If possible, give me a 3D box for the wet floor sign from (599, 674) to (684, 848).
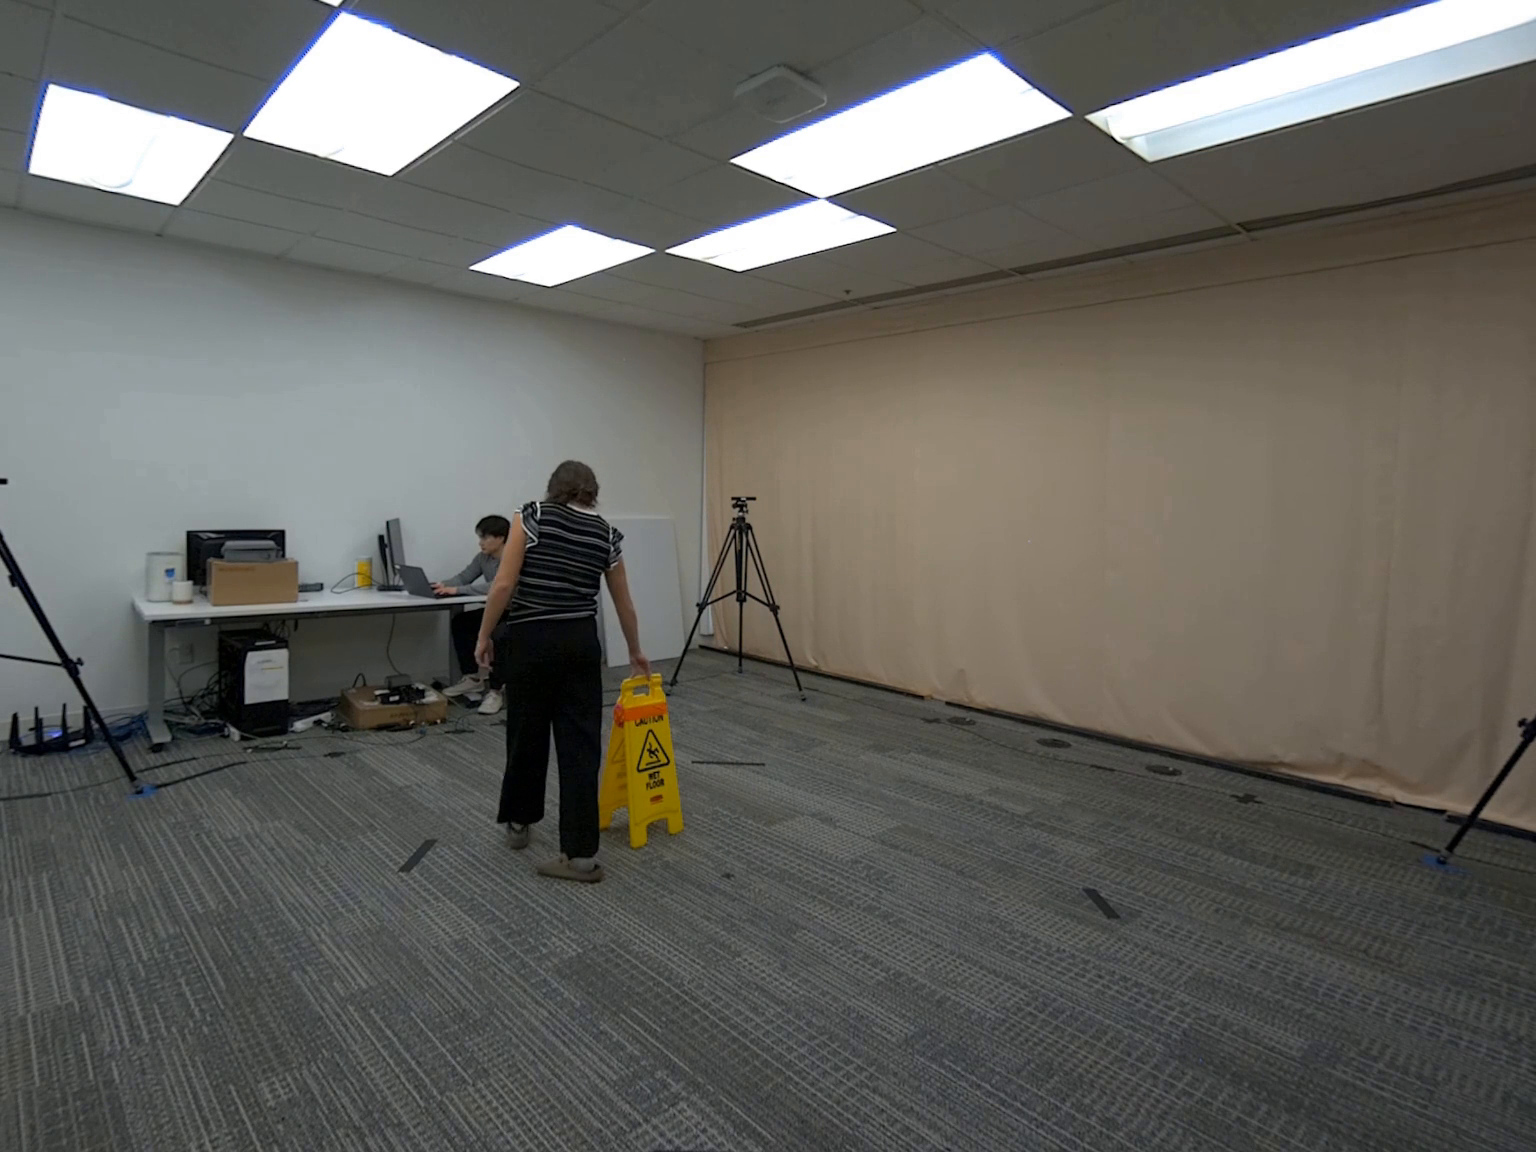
[{"bbox_3d":[-0.541,0.739,3.495,0.297,0.645,0.276,3,2,42],"label":"wet floor sign"}]
